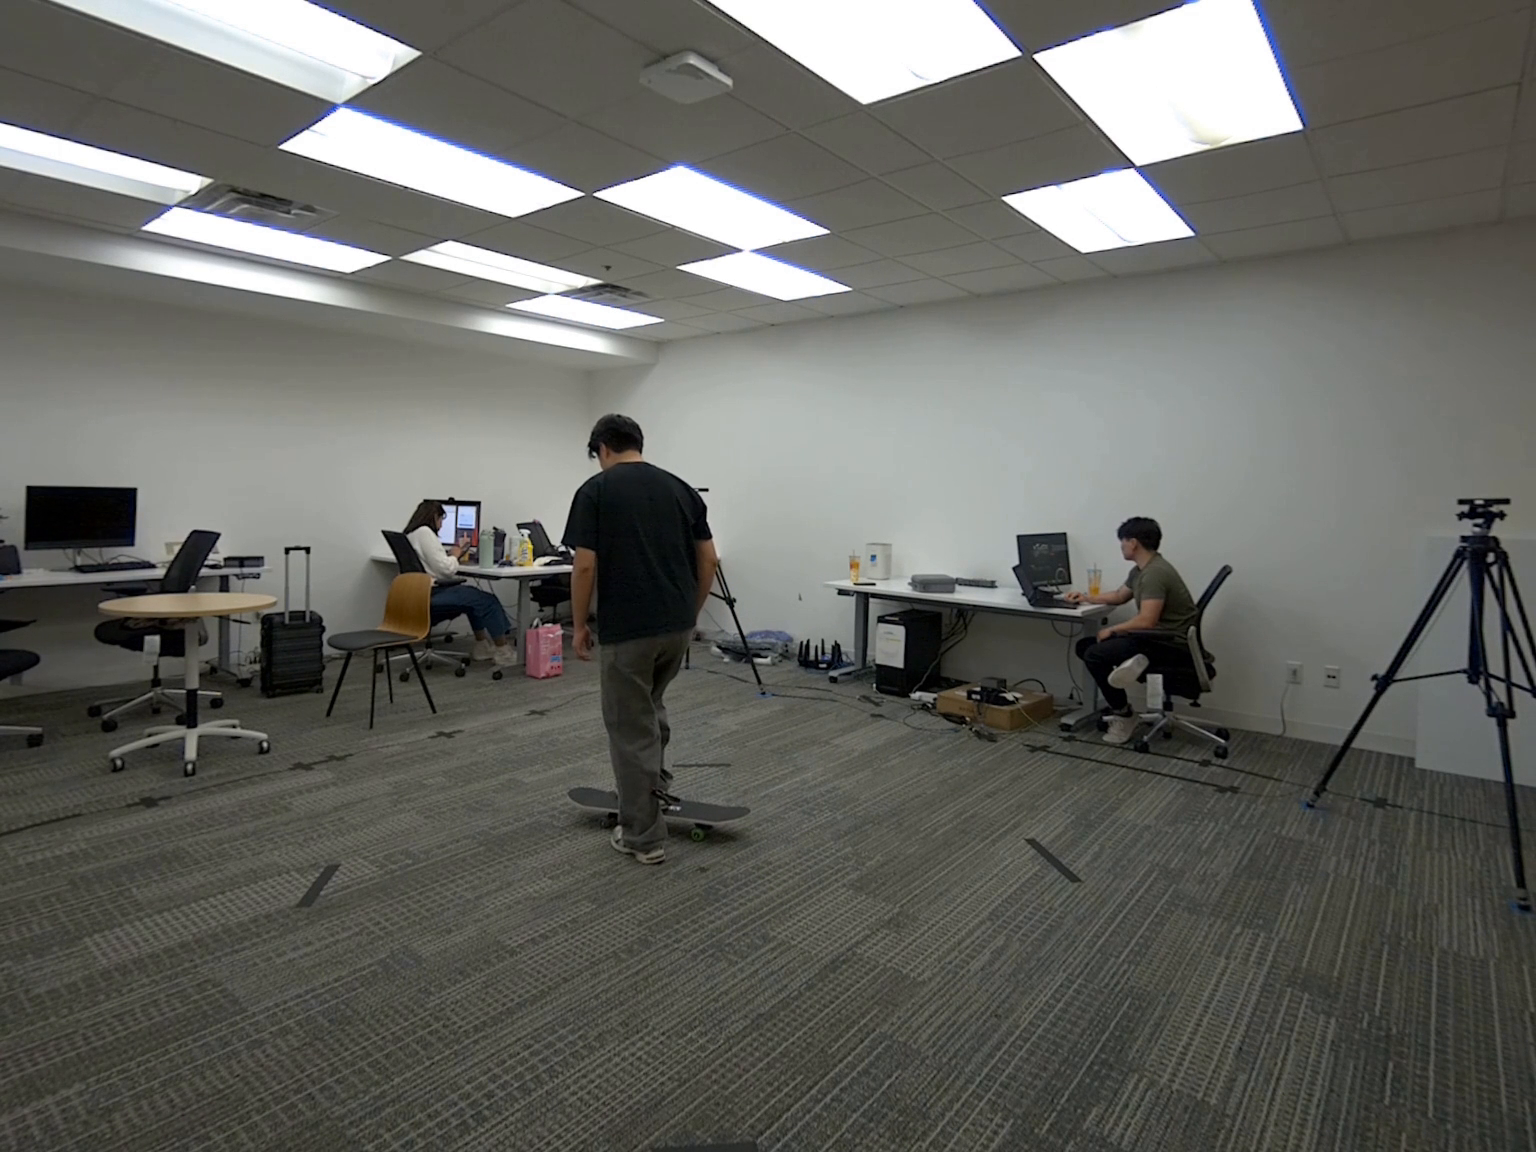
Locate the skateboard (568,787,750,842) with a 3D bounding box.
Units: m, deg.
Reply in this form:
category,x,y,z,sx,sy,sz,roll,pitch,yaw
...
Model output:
category,x,y,z,sx,sy,sz,roll,pitch,yaw
skateboard,-0.465,0.972,3.488,0.798,0.110,0.191,3,4,15
